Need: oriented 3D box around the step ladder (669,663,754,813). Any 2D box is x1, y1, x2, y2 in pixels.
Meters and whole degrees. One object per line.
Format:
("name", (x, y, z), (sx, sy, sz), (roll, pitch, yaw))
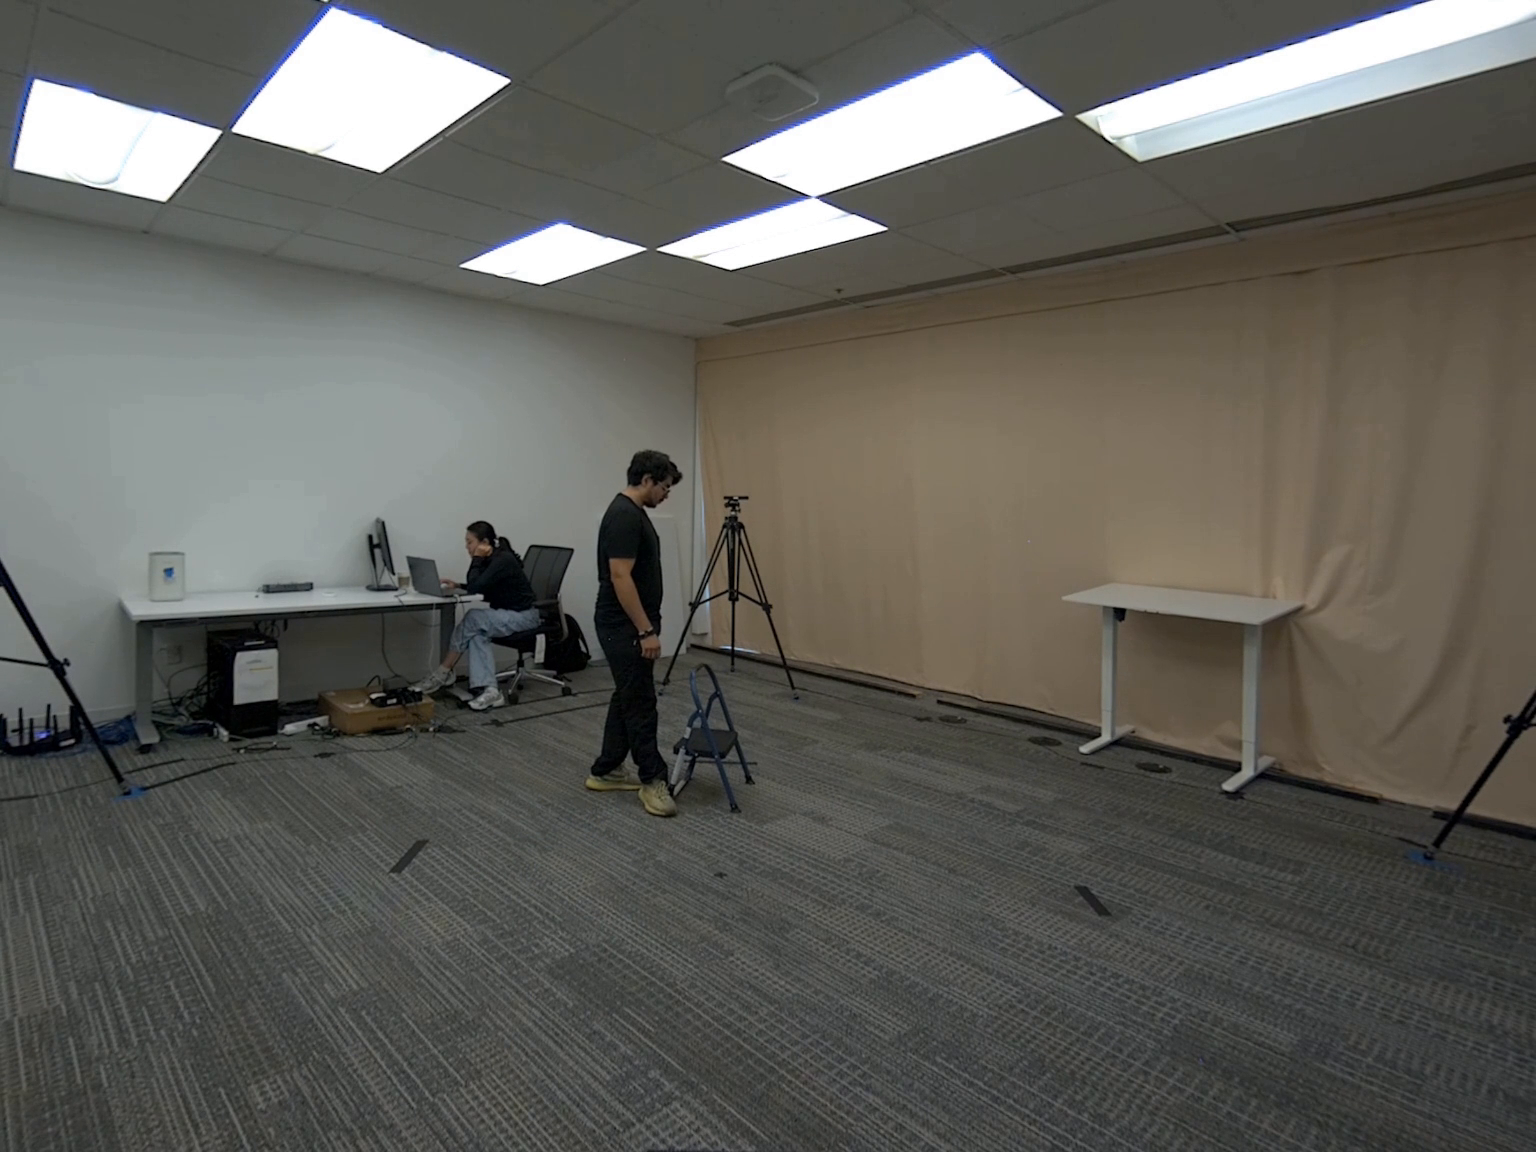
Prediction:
("step ladder", (-0.275, 0.731, 3.963), (0.352, 0.605, 0.428), (2, 3, 10))
